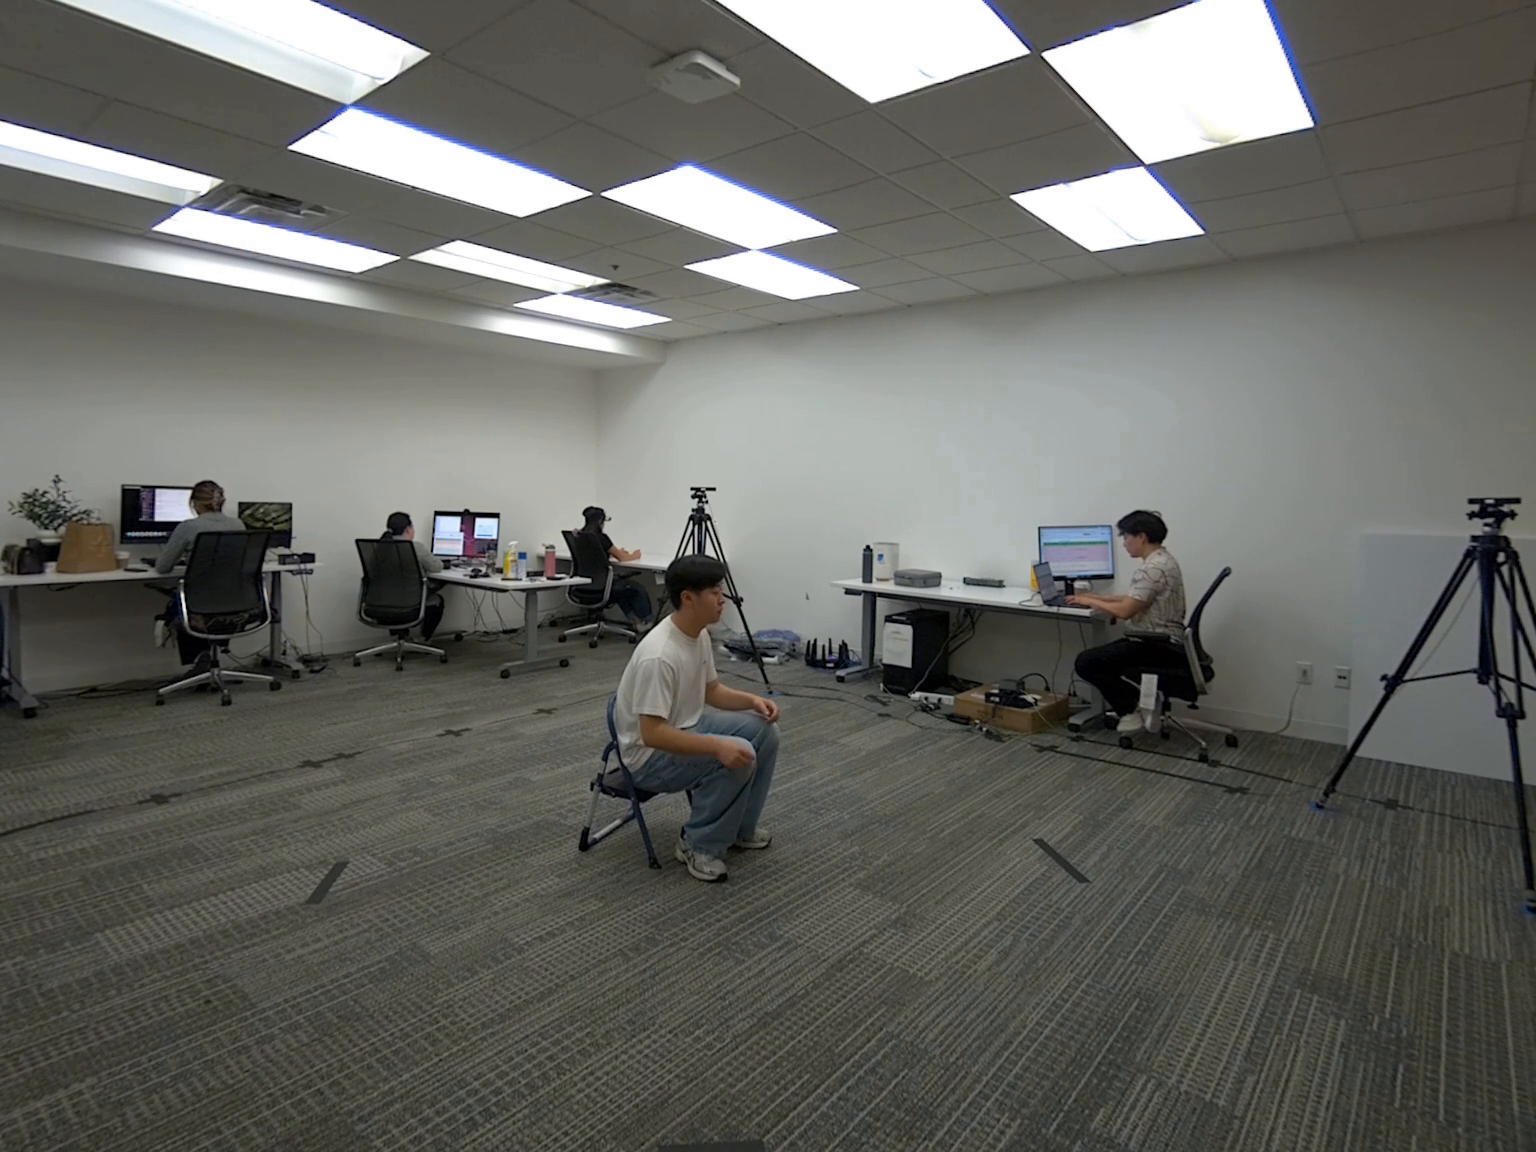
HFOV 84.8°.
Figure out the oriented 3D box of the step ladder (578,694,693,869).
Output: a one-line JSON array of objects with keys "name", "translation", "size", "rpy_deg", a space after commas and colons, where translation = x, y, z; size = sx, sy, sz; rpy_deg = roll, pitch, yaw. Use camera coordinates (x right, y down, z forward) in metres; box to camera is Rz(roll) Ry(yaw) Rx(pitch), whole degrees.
[{"name": "step ladder", "translation": [-0.502, 0.737, 3.348], "size": [0.357, 0.605, 0.421], "rpy_deg": [2, 3, 22]}]
